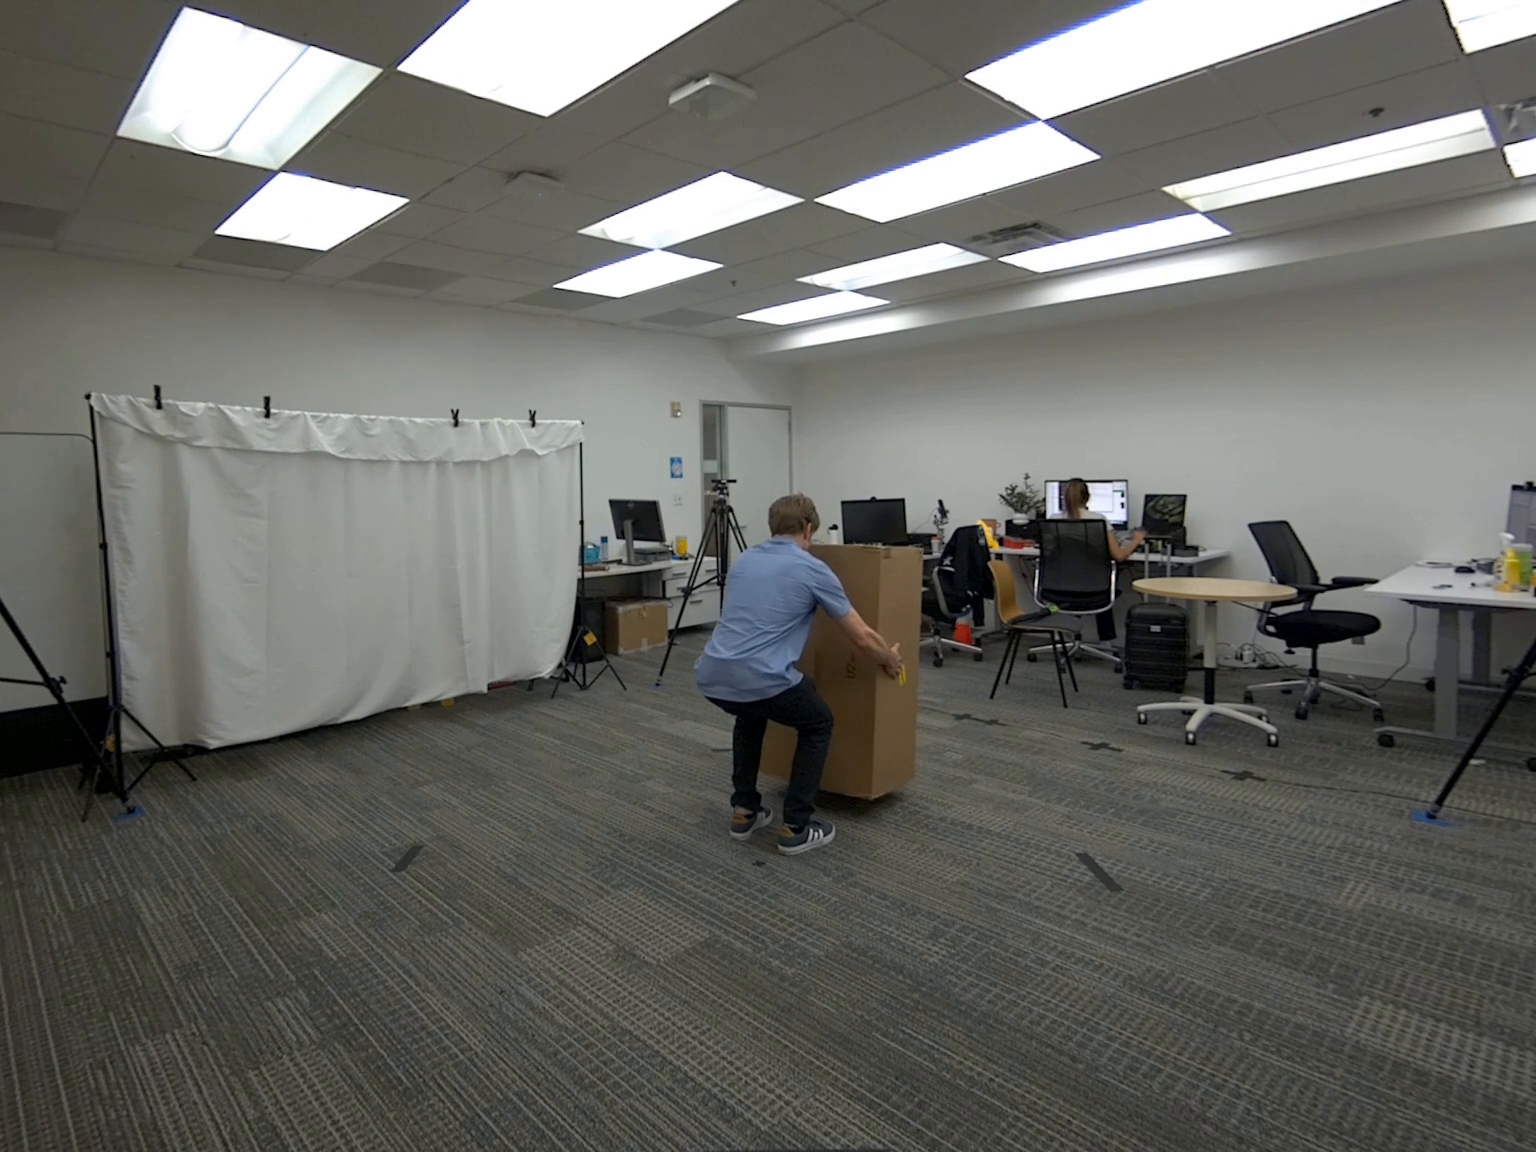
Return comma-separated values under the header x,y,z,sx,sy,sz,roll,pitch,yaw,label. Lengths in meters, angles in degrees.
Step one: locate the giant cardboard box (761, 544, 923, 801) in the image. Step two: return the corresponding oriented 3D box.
x,y,z,sx,sy,sz,roll,pitch,yaw,label
0.318,0.371,3.776,0.594,1.026,0.414,2,0,36,giant cardboard box
